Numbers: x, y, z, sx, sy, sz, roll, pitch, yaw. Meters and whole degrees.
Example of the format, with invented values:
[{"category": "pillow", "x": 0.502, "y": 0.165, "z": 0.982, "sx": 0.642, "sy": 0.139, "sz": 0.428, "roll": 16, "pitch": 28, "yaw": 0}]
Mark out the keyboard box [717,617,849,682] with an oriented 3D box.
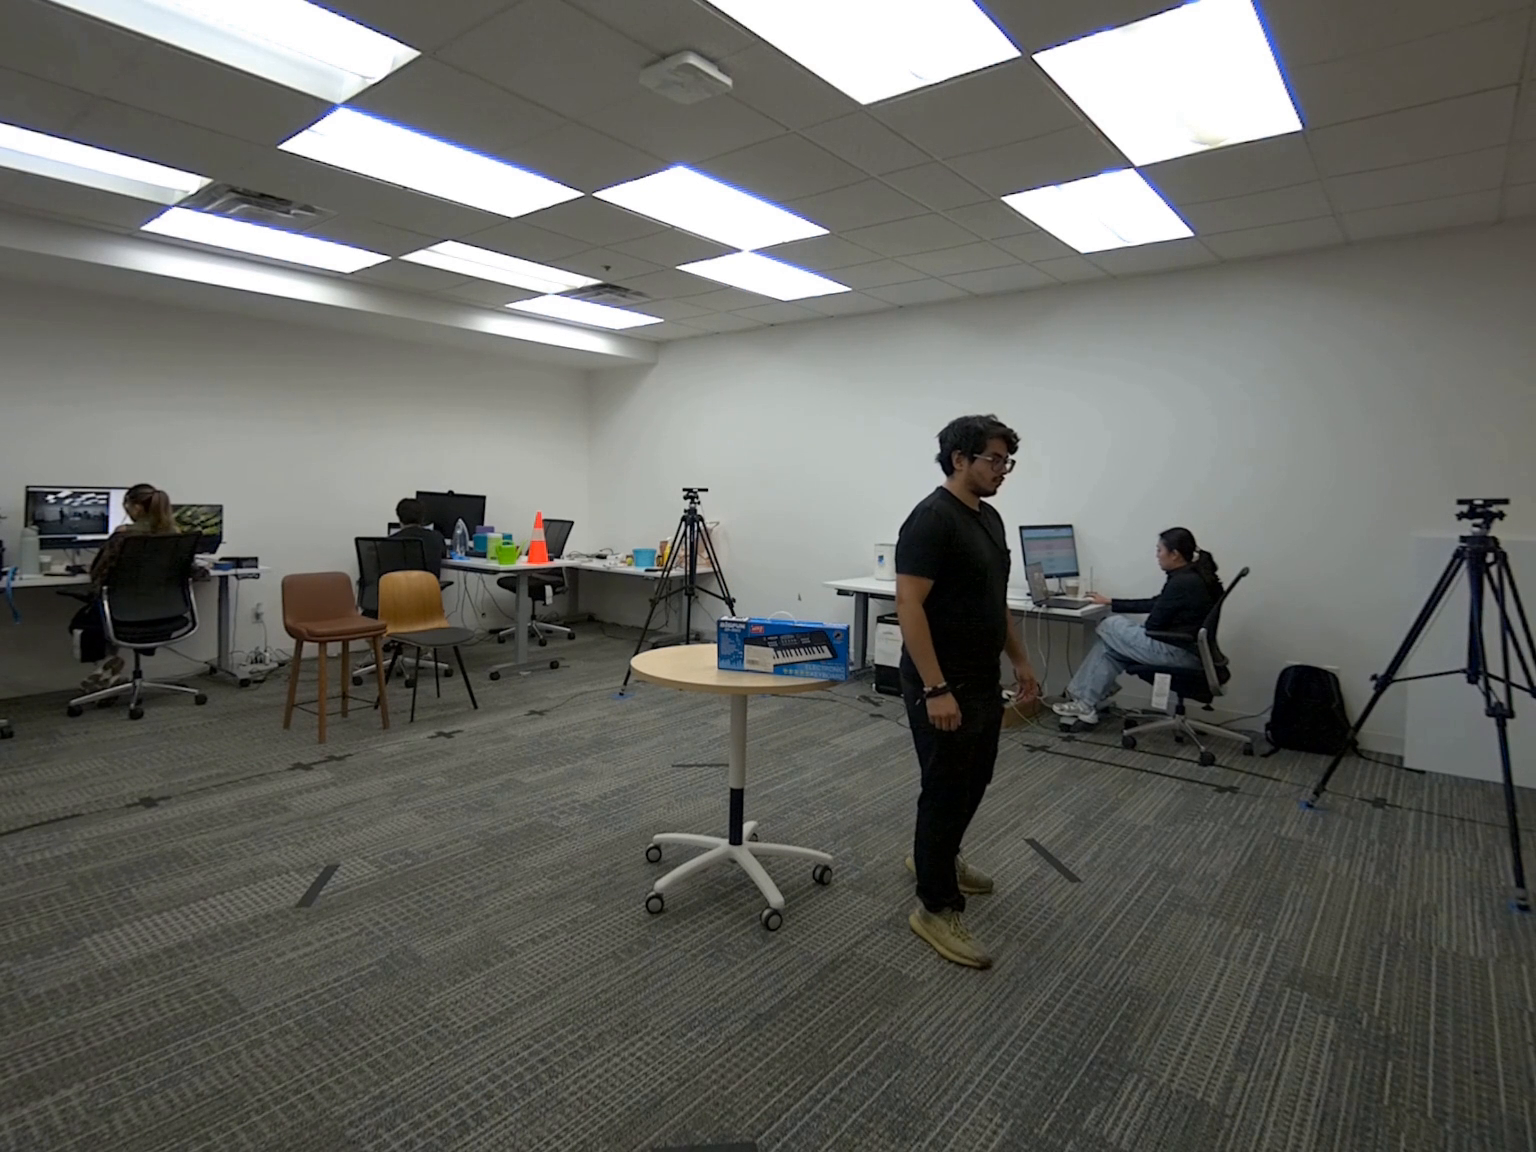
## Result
[{"category": "keyboard box", "x": 0.038, "y": 0.235, "z": 2.792, "sx": 0.446, "sy": 0.174, "sz": 0.058, "roll": 3, "pitch": 9, "yaw": 20}]
